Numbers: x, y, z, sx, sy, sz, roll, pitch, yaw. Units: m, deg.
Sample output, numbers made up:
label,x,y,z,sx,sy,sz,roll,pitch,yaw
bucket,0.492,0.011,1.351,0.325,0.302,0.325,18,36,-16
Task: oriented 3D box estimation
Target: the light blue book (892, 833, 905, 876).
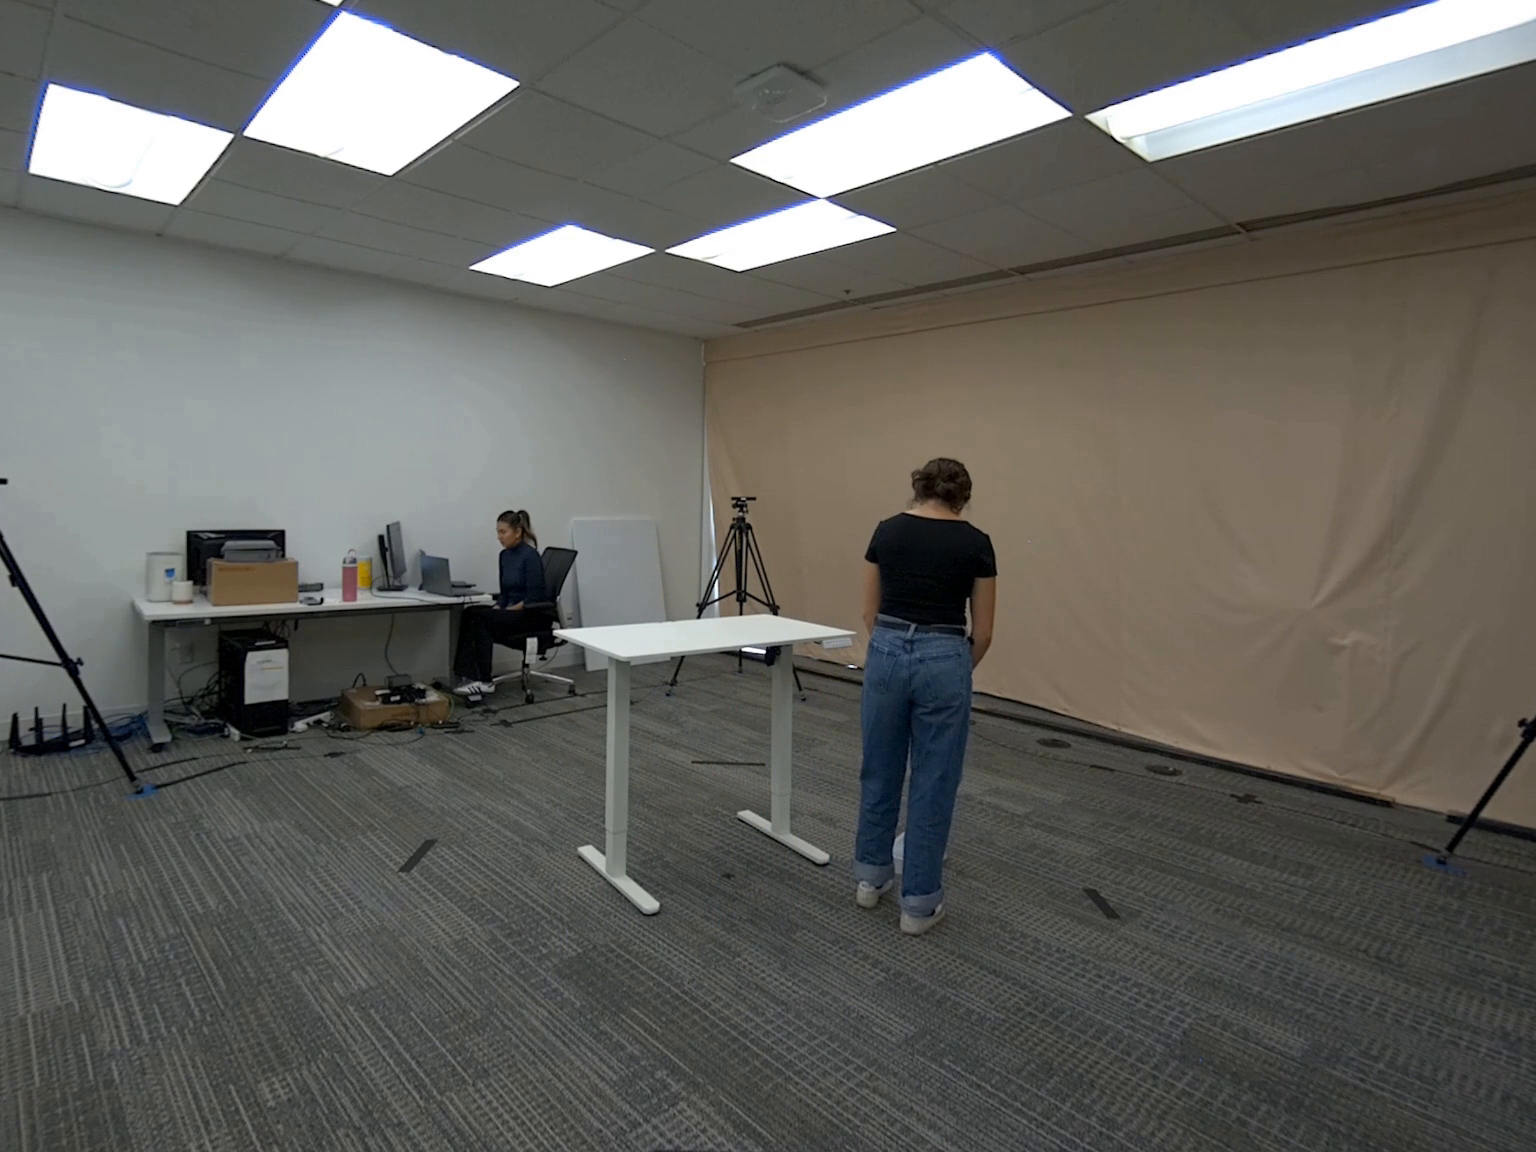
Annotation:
label,x,y,z,sx,sy,sz,roll,pitch,yaw
light blue book,0.561,1.085,3.258,0.196,0.059,0.256,5,6,32
